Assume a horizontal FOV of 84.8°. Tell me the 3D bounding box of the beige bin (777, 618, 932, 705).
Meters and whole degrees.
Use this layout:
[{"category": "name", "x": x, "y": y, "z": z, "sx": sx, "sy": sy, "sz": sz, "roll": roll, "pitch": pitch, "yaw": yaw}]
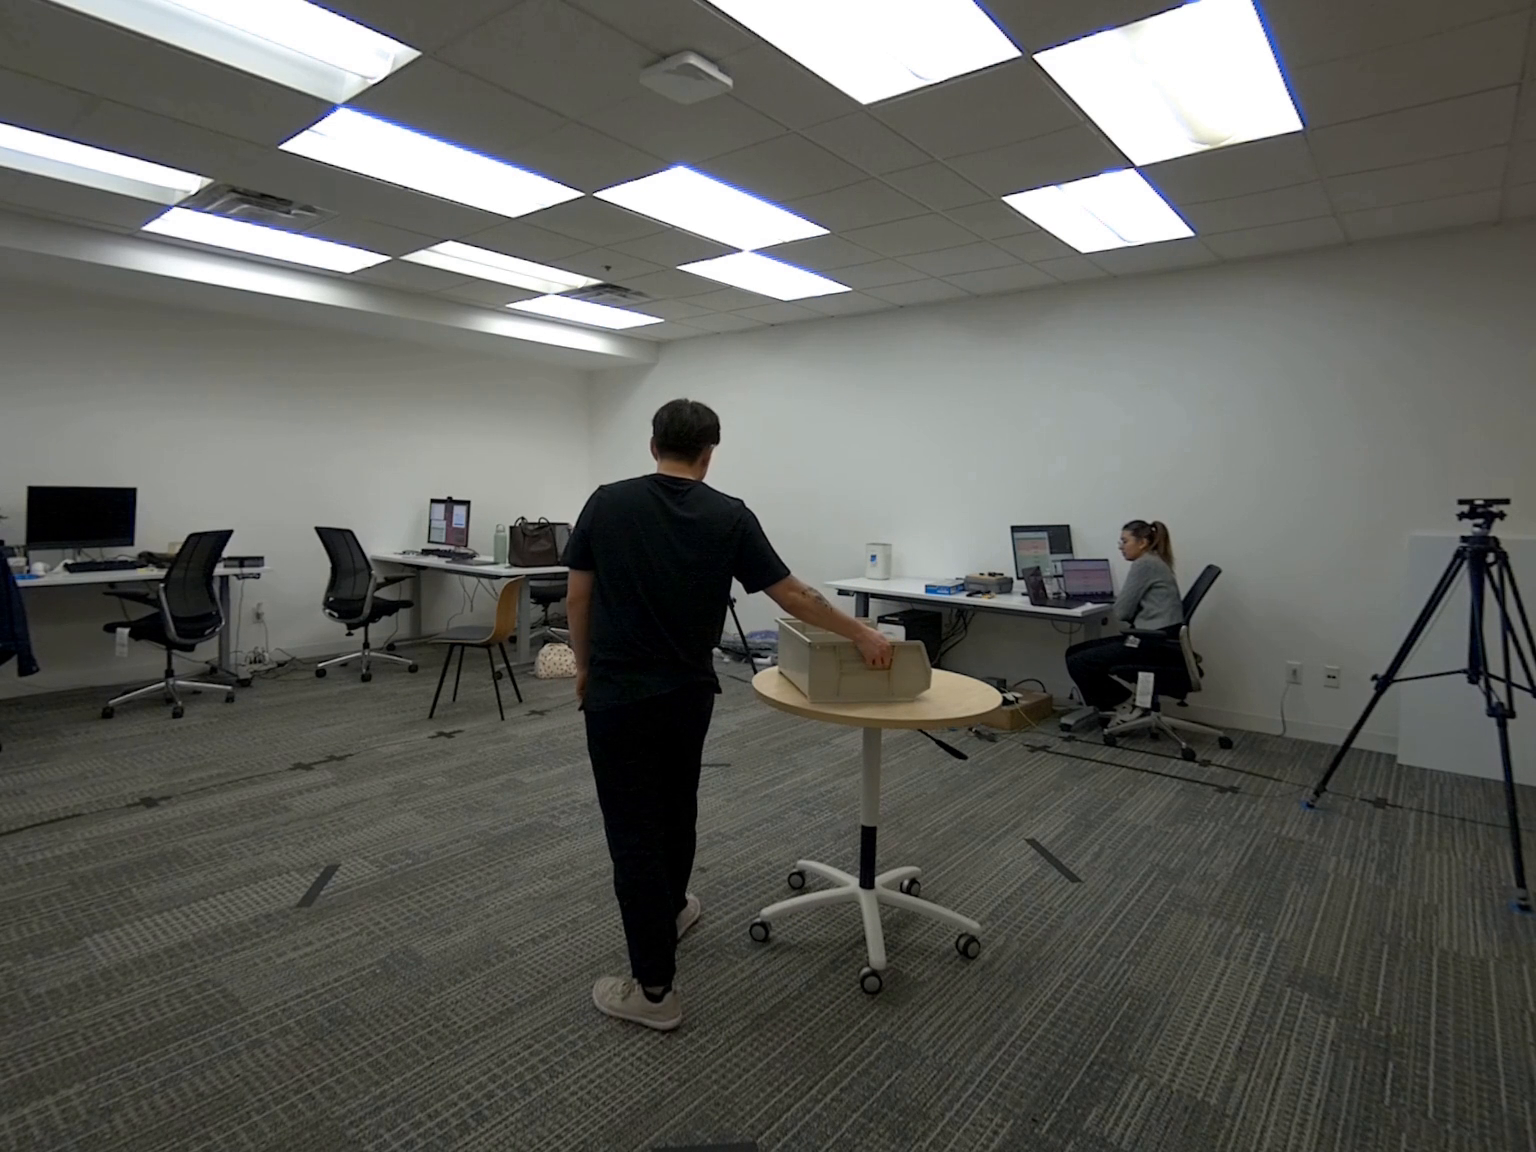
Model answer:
[{"category": "beige bin", "x": 0.249, "y": 0.253, "z": 2.650, "sx": 0.374, "sy": 0.188, "sz": 0.429, "roll": -1, "pitch": 8, "yaw": -10}]
